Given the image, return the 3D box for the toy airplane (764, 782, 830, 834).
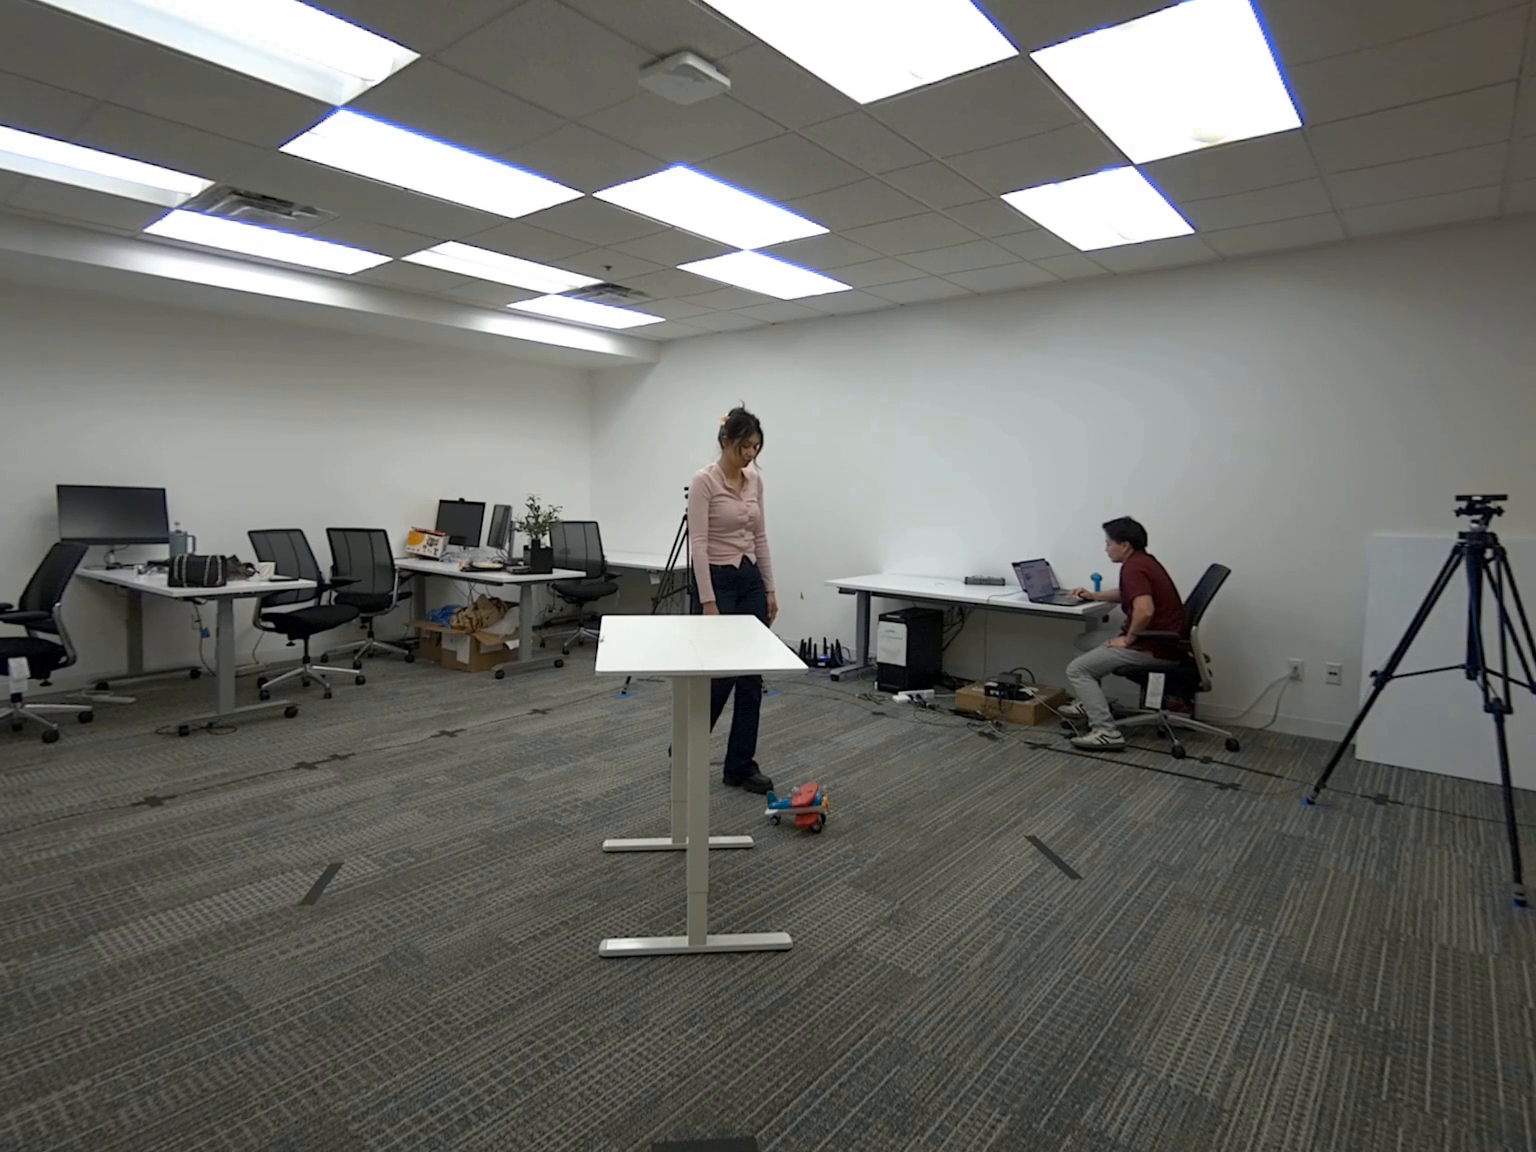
[{"bbox_3d":[0.112,0.957,3.497,0.255,0.156,0.256,1,6,-15],"label":"toy airplane"}]
